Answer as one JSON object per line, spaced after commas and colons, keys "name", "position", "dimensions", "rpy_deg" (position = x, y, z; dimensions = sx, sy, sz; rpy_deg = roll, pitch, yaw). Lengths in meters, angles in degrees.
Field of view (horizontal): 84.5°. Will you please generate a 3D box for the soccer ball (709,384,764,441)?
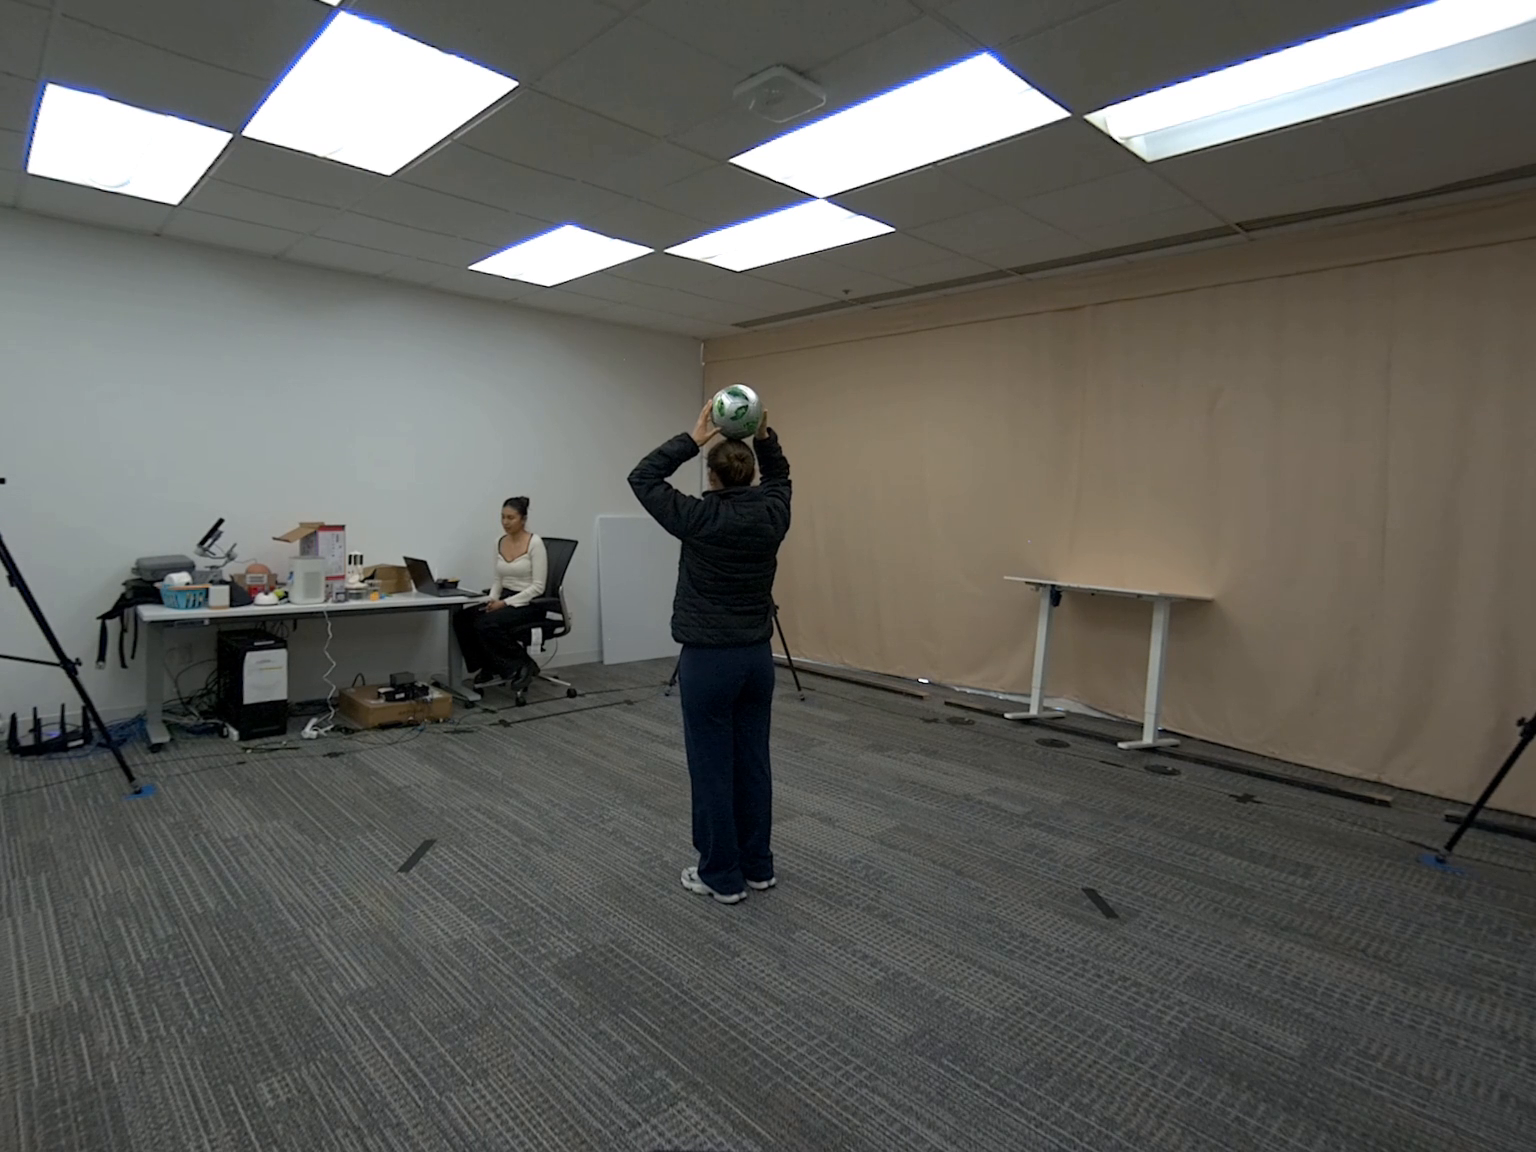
{"name": "soccer ball", "position": [-0.117, -0.561, 2.903], "dimensions": [0.187, 0.187, 0.188], "rpy_deg": [1, 4, -1]}
